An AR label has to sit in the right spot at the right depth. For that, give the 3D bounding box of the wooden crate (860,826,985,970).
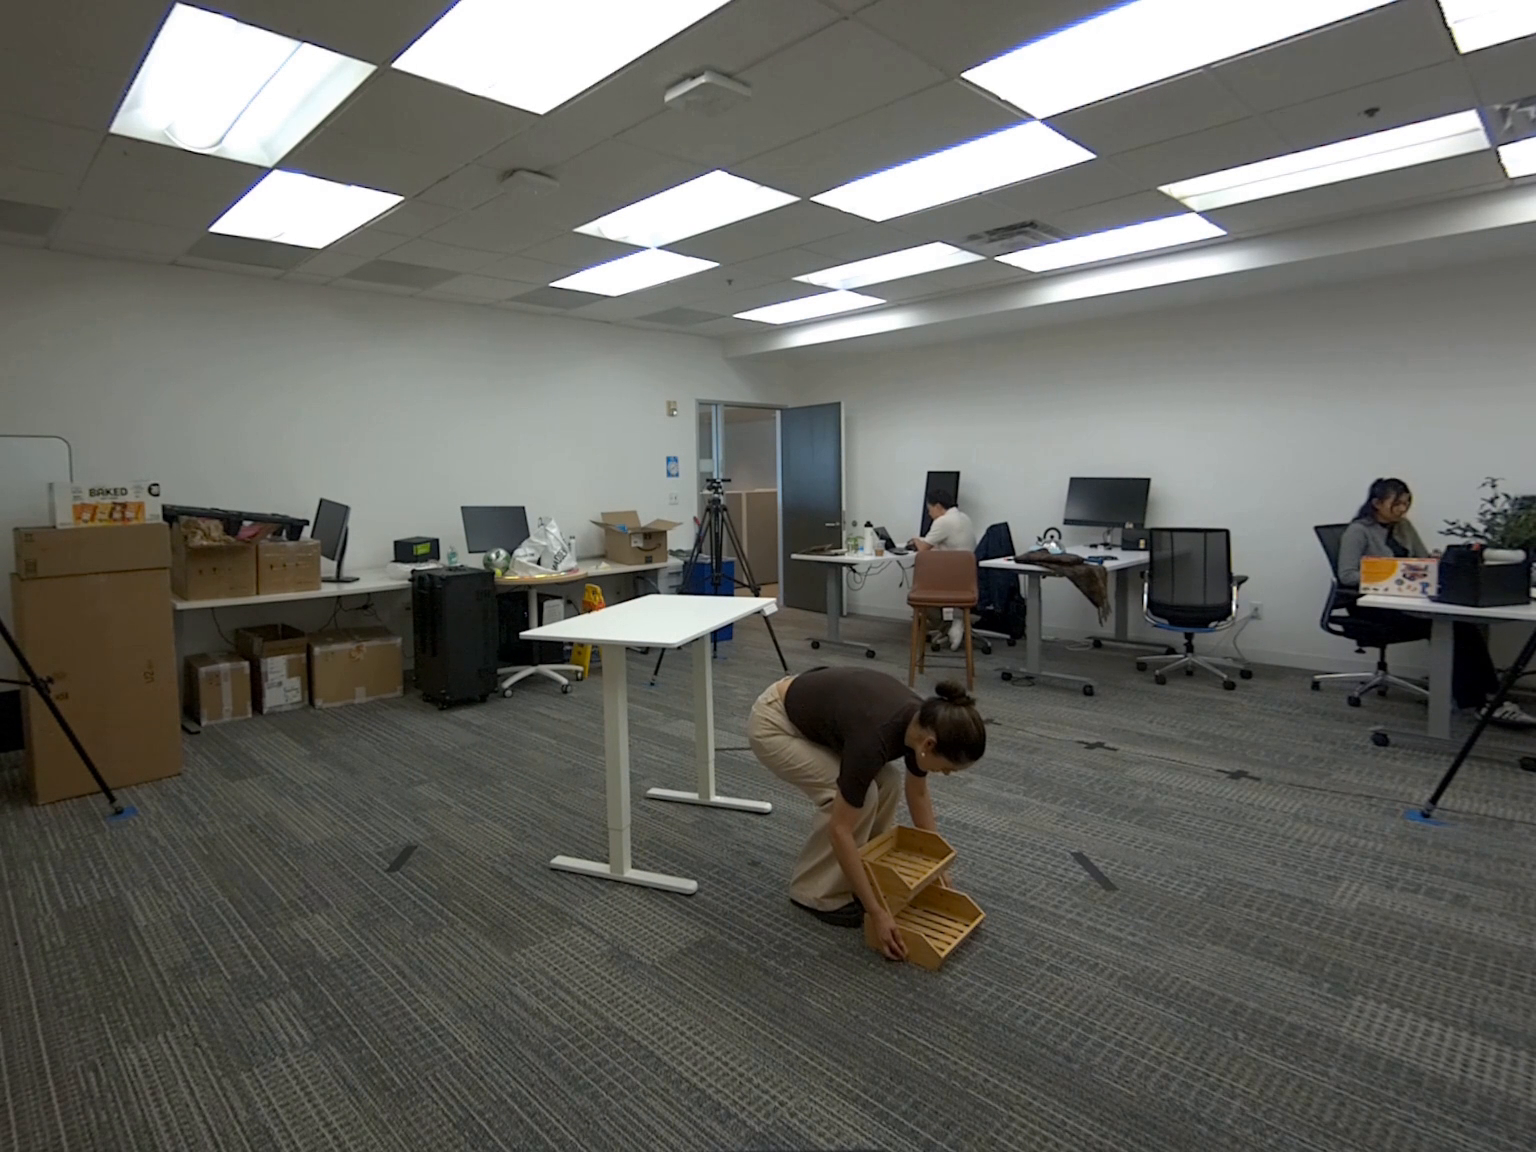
[{"bbox_3d":[0.459,0.958,2.599,0.311,0.272,0.316,2,6,38],"label":"wooden crate"}]
